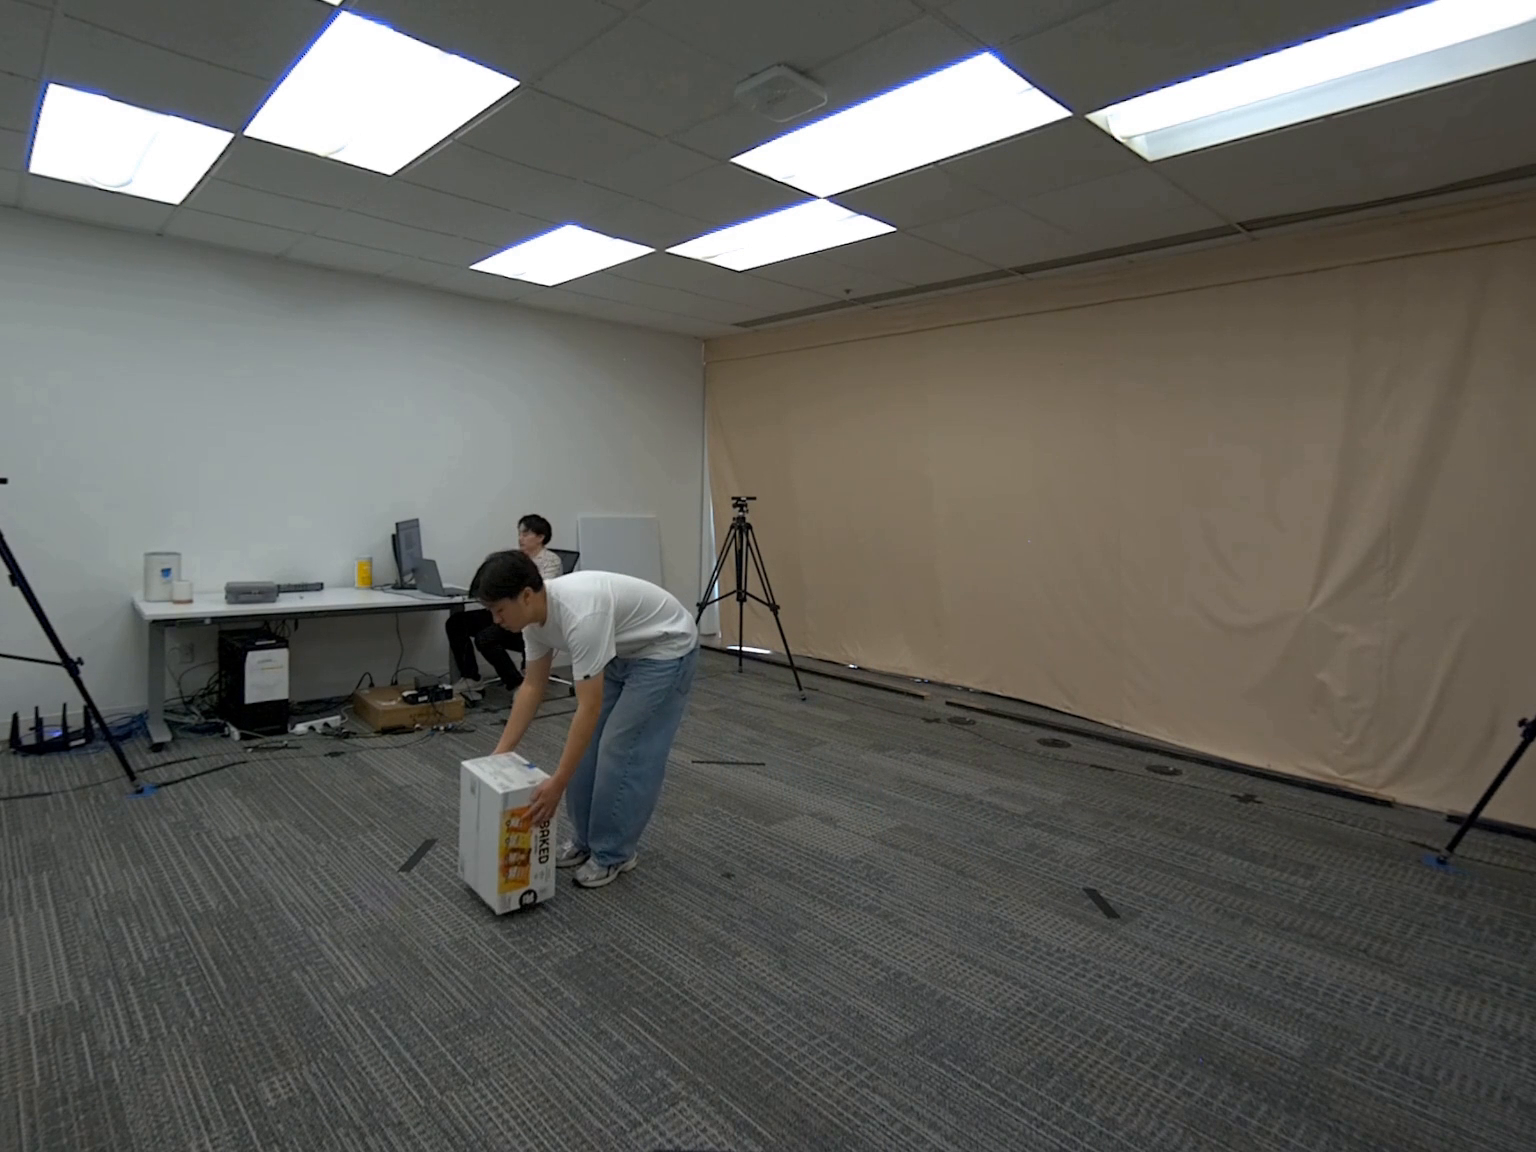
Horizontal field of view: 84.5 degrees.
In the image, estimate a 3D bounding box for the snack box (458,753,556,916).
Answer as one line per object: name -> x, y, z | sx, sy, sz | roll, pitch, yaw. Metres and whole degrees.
snack box -> -0.895, 0.852, 2.876 | 0.201, 0.403, 0.349 | -2, 7, -40
